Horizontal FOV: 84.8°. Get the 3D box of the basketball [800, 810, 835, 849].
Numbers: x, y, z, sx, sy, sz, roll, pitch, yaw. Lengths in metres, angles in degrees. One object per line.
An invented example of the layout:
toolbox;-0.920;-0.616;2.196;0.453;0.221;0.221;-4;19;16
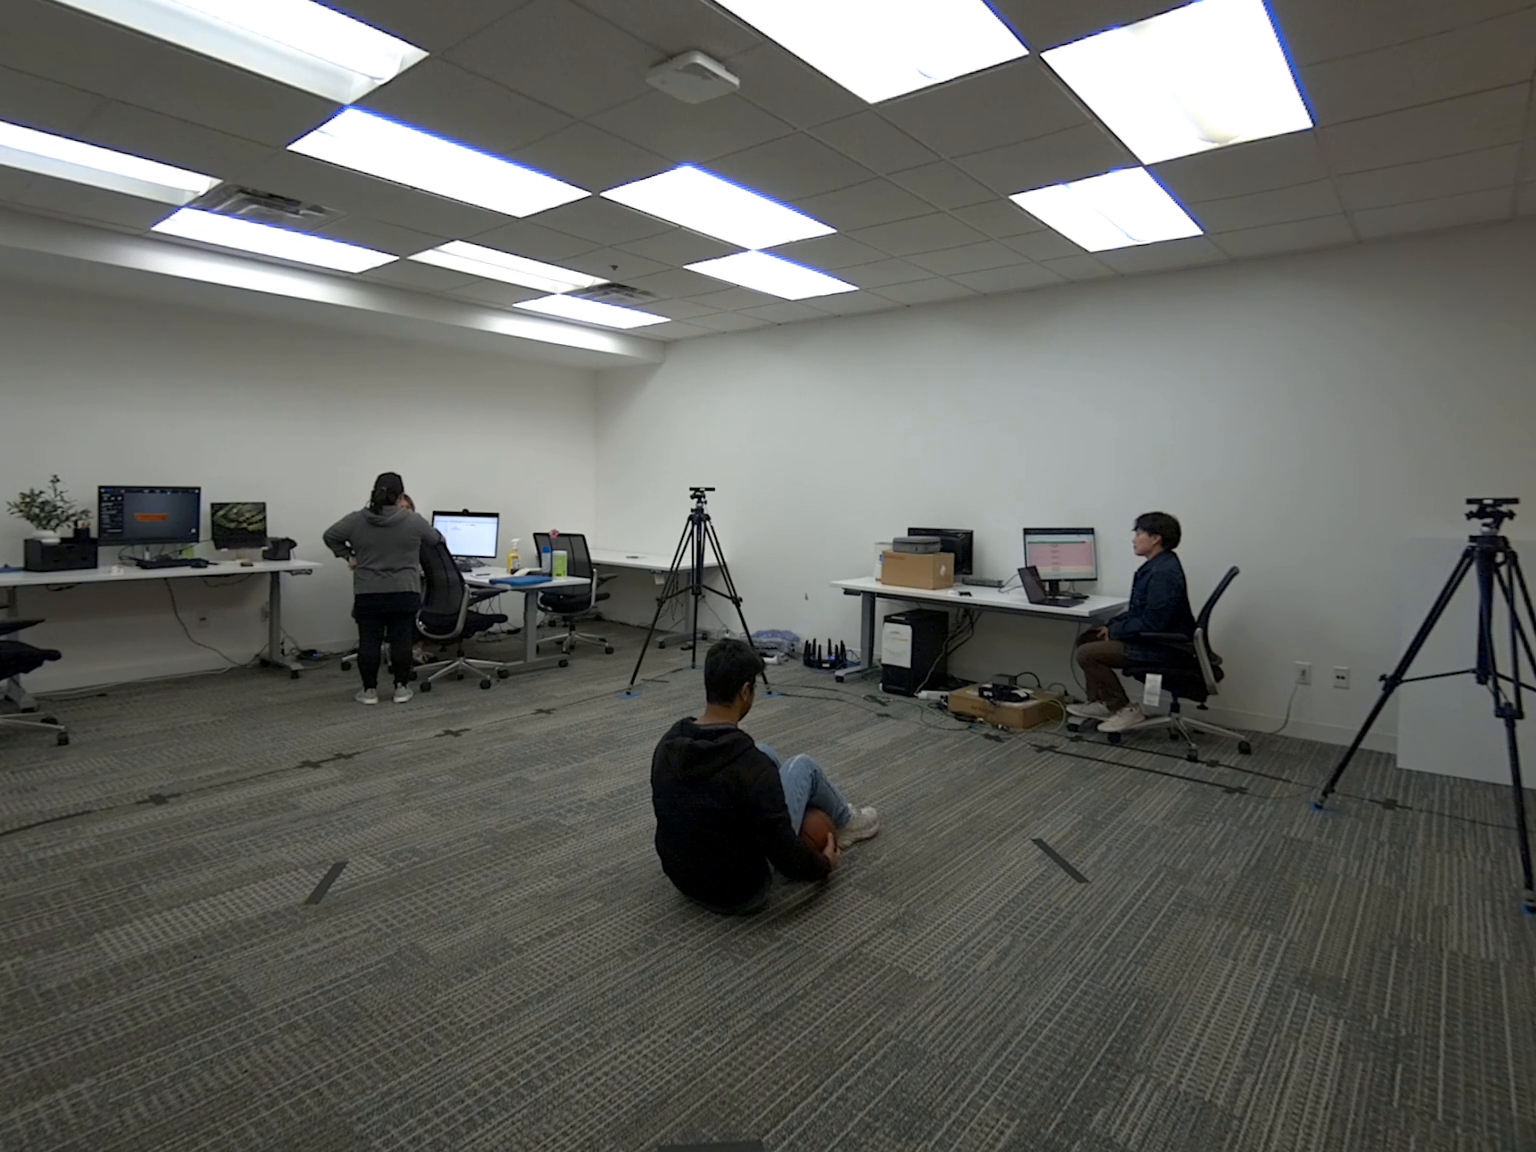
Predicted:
basketball;0.125;0.946;3.087;0.235;0.235;0.237;1;4;-2
